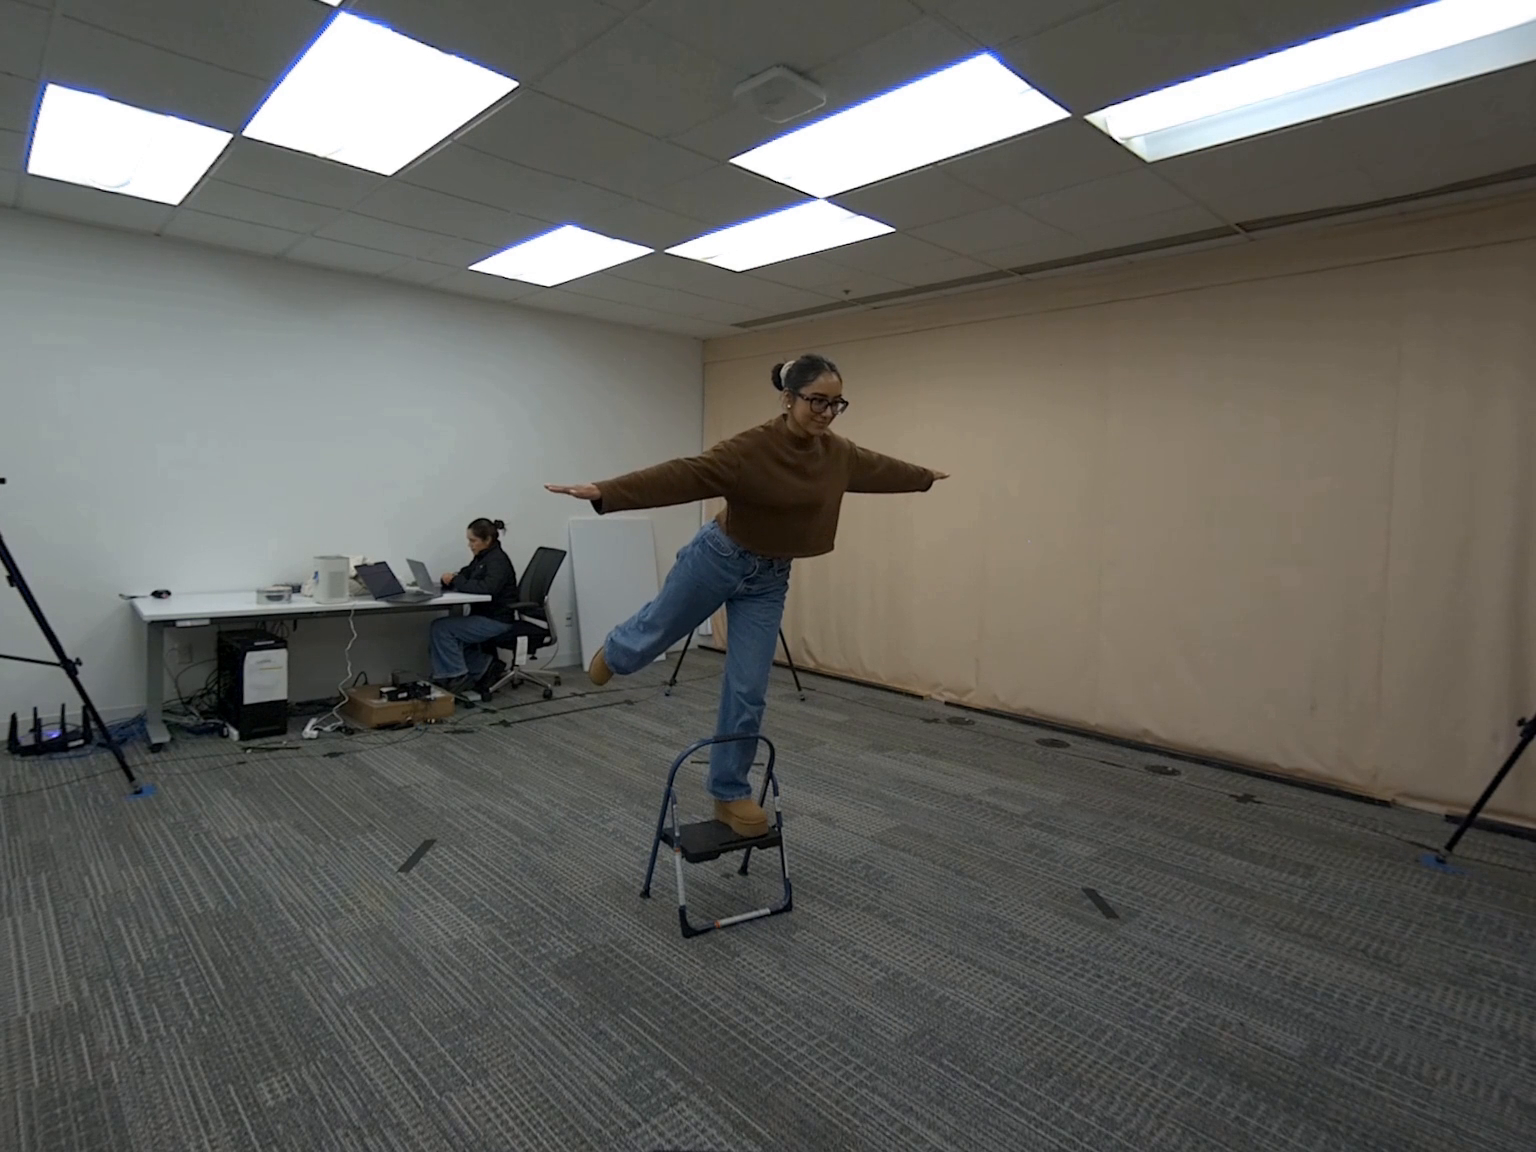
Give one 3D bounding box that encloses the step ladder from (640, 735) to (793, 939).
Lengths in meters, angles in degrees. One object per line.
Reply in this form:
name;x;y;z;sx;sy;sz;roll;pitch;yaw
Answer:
step ladder;-0.177;0.825;2.878;0.421;0.604;0.357;-1;4;-32
